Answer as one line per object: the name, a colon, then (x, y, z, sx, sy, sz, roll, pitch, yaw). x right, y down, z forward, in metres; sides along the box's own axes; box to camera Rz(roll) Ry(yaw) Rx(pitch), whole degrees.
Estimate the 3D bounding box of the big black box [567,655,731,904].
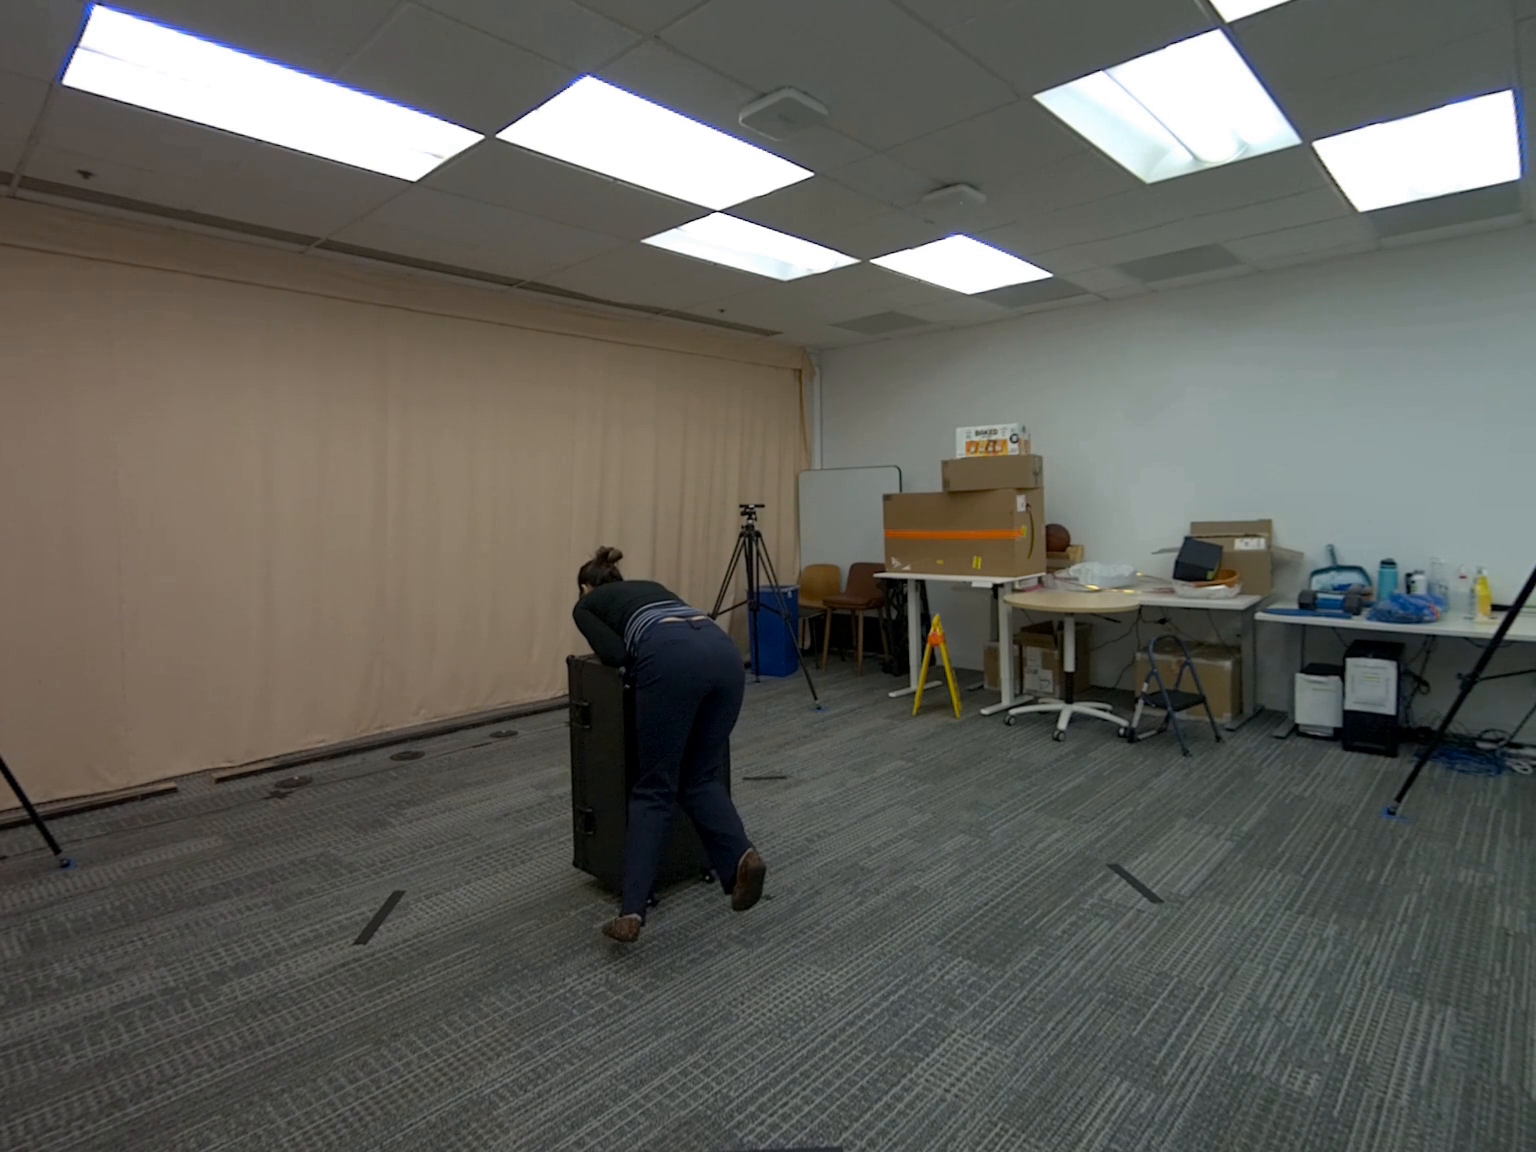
big black box: (-0.423, 0.713, 3.122, 0.505, 0.860, 0.409, -3, 4, -42)
